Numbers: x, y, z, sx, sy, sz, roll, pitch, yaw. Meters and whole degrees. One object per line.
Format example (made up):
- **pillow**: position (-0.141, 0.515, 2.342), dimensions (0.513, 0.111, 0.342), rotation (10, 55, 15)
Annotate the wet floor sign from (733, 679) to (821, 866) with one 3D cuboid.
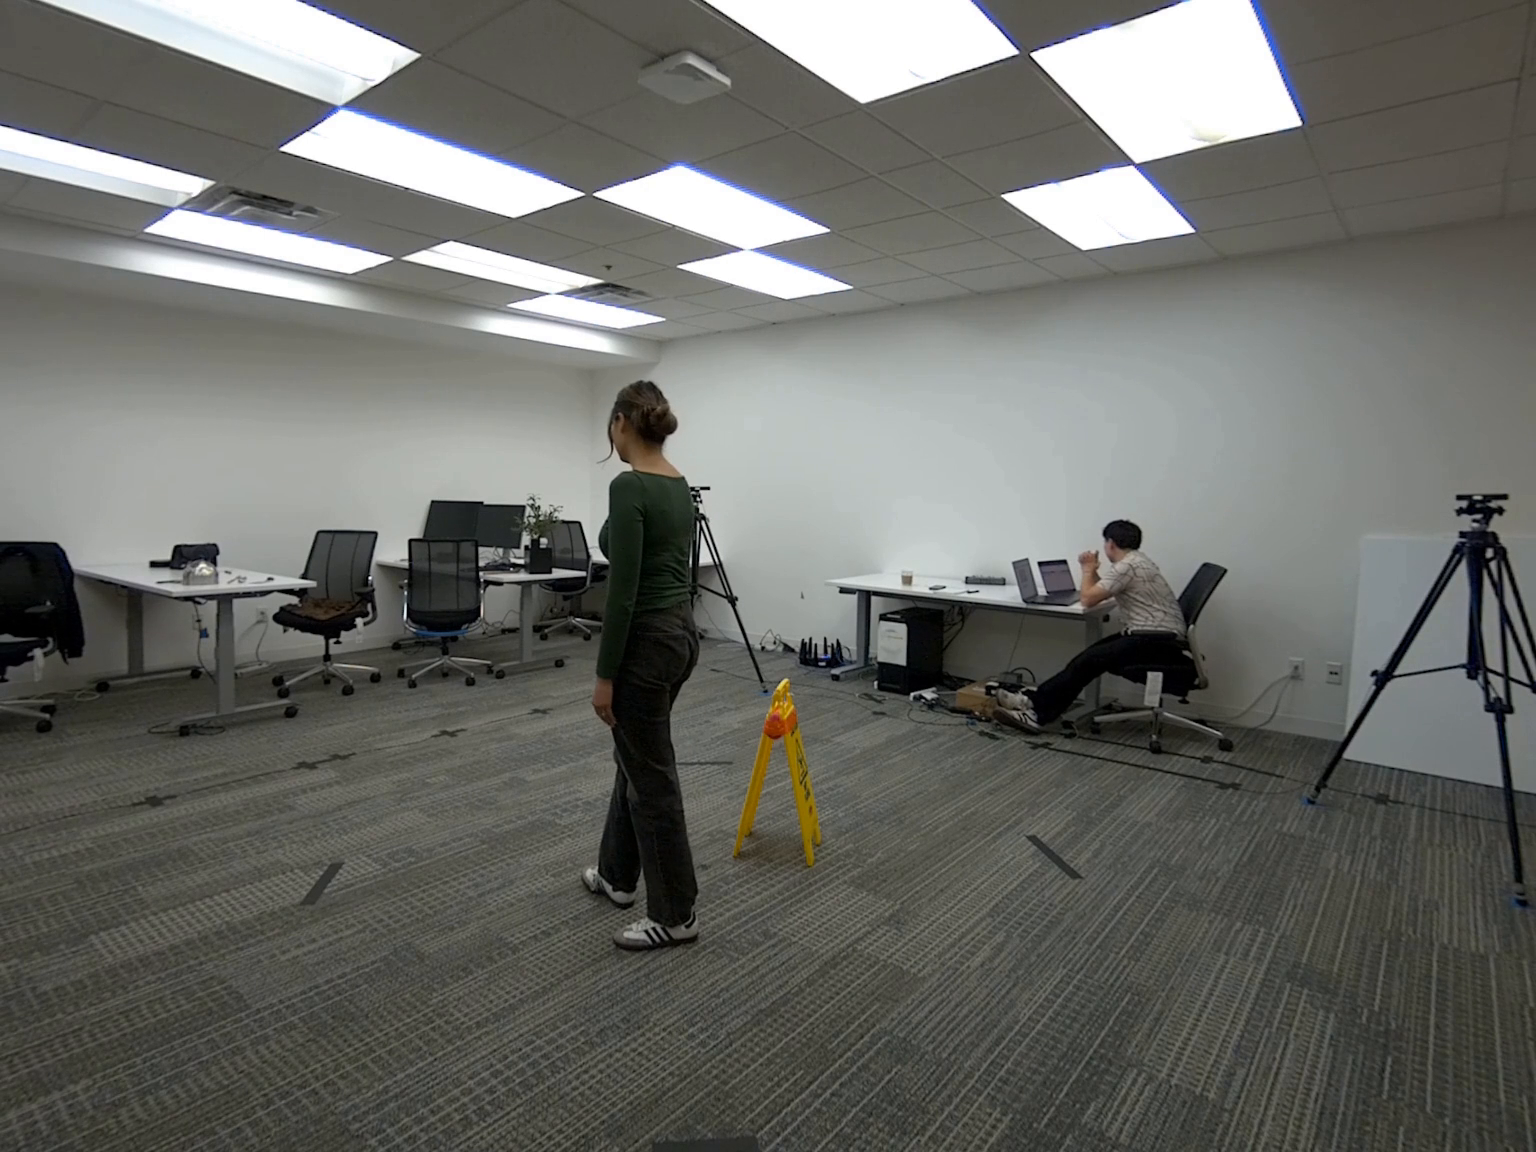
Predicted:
- **wet floor sign**: position (0.035, 0.729, 3.283), dimensions (0.294, 0.645, 0.278), rotation (1, 2, 13)
